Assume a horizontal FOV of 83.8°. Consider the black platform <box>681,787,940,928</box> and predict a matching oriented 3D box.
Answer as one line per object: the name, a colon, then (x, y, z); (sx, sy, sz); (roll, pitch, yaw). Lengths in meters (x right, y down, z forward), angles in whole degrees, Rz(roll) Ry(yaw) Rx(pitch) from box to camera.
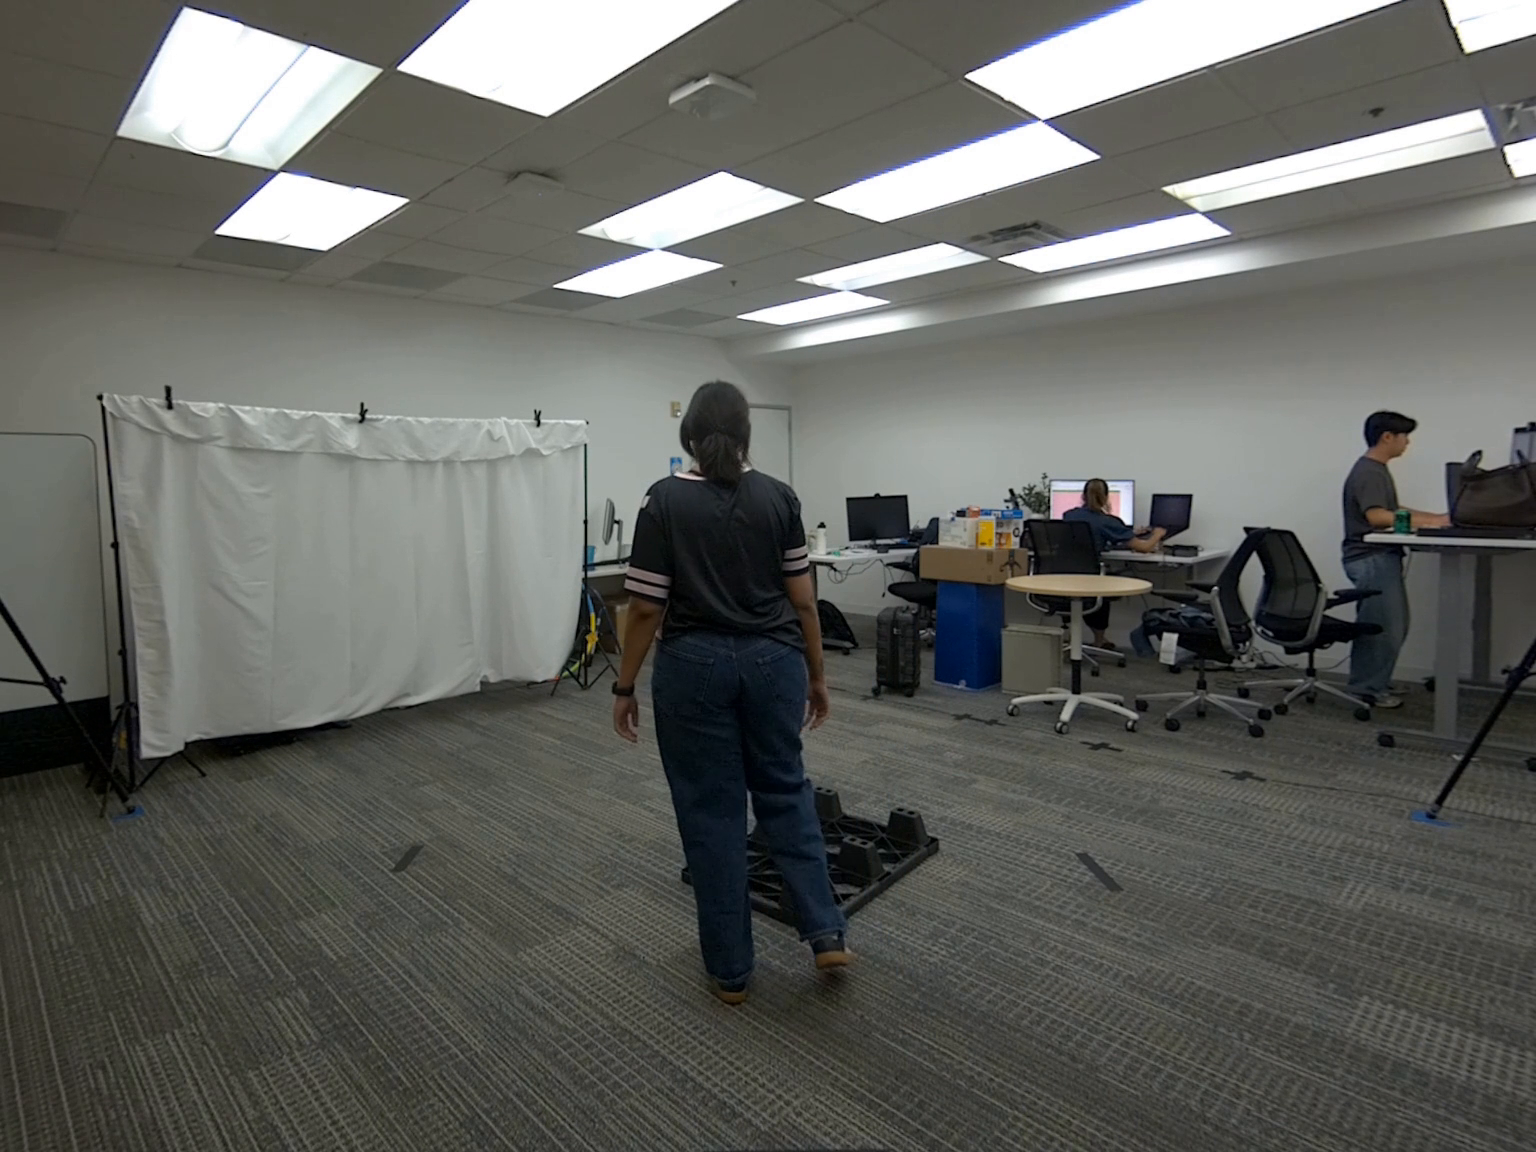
black platform: (0.173, 0.981, 3.082); (0.623, 0.143, 0.785); (3, 8, 39)
